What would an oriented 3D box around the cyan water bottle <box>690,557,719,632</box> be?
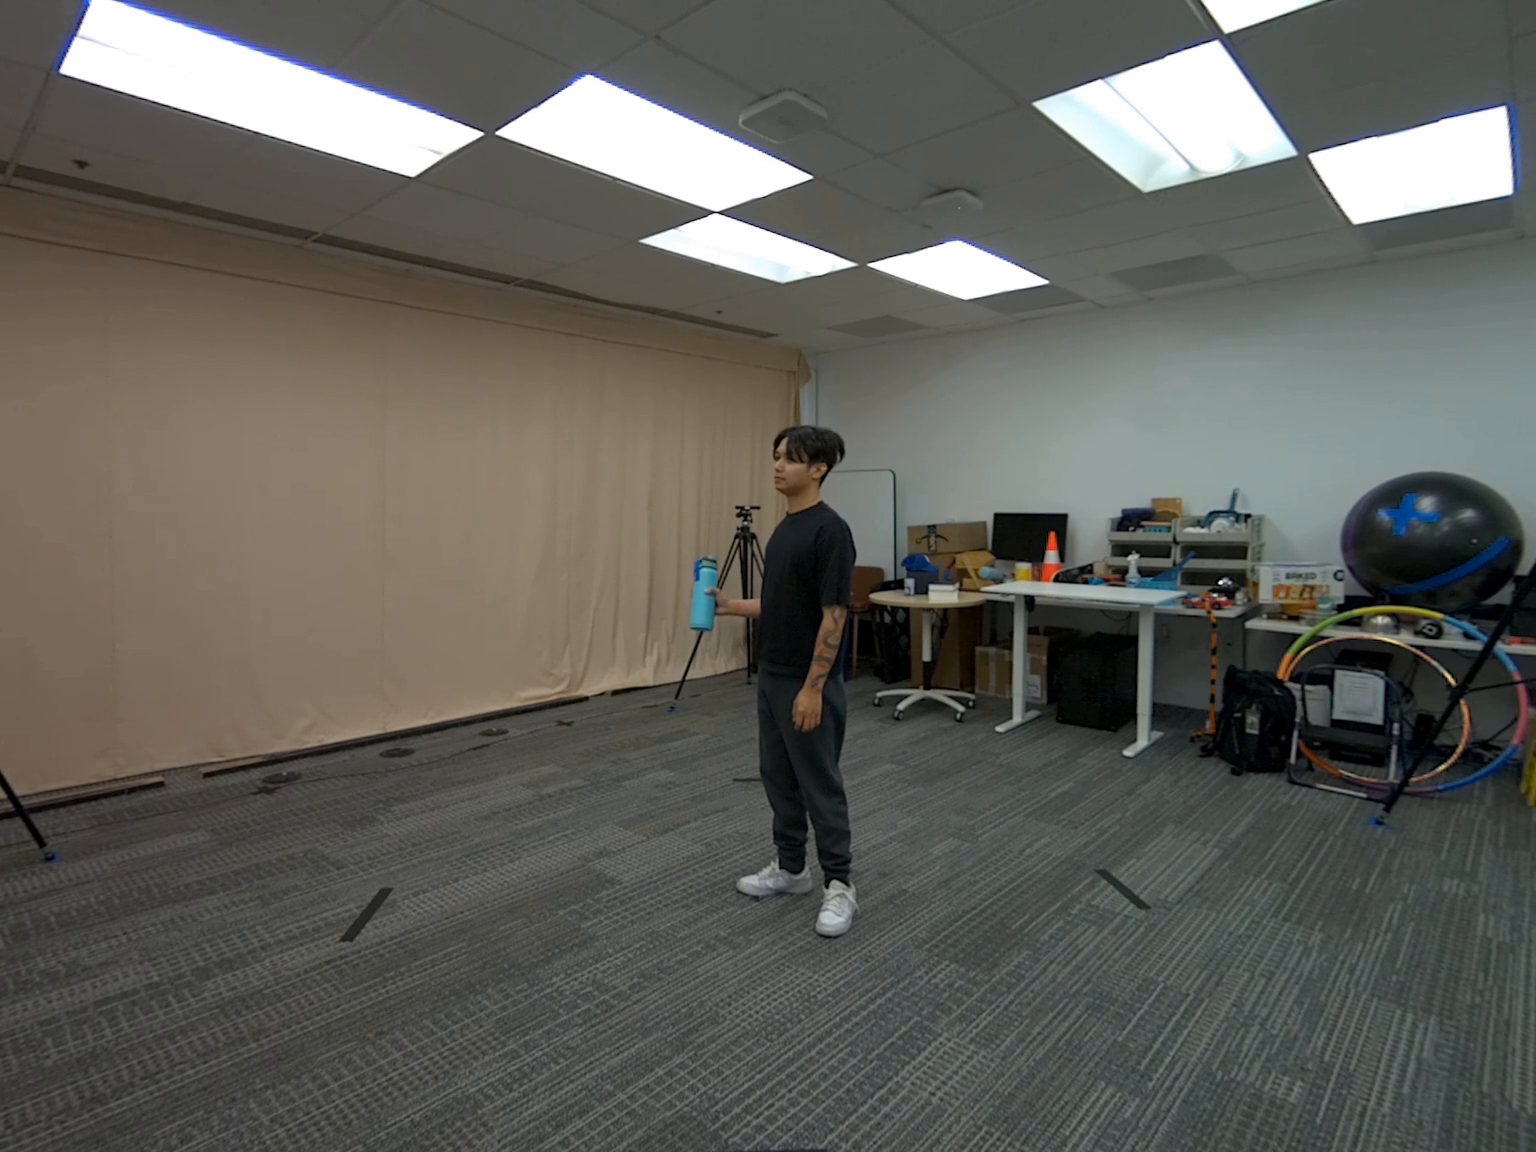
[{"bbox_3d":[-0.240,0.061,3.173,0.092,0.285,0.091,4,-14,-1],"label":"cyan water bottle"}]
